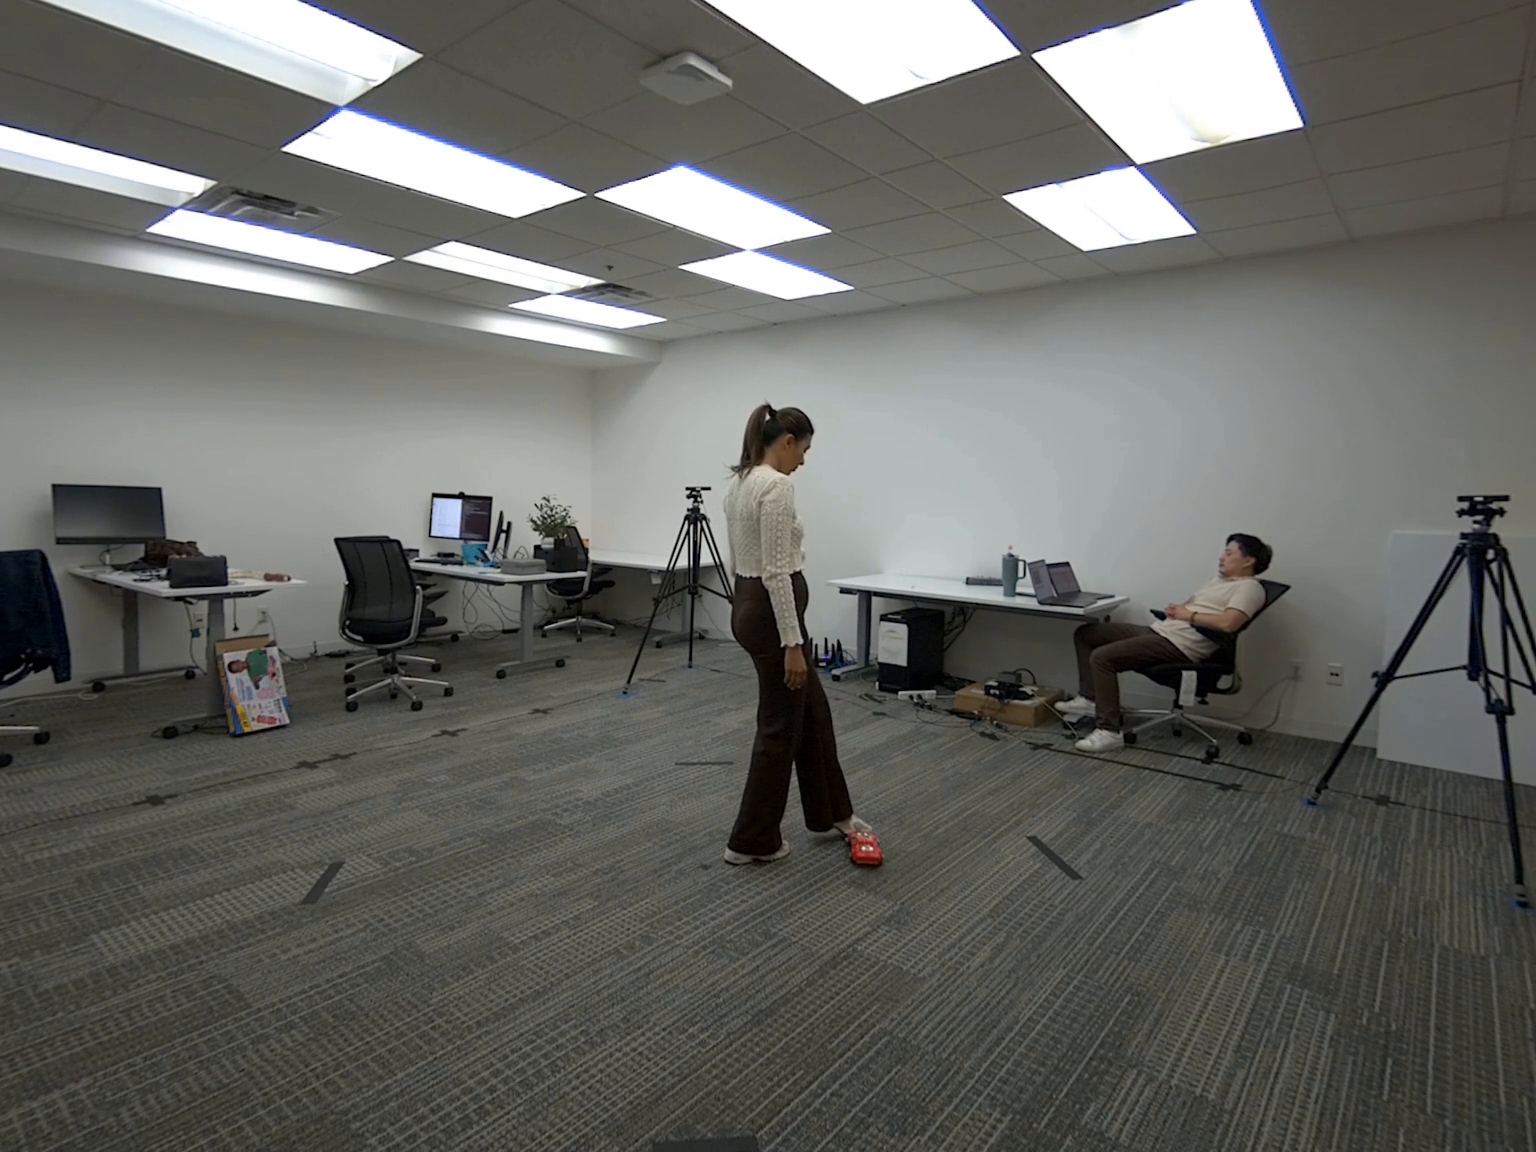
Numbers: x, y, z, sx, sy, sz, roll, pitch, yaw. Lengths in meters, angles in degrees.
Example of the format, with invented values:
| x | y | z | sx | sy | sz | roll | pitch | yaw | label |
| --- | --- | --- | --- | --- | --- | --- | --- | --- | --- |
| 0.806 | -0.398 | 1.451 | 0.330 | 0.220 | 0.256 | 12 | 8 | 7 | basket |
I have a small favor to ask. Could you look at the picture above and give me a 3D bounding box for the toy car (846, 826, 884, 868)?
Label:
| x | y | z | sx | sy | sz | roll | pitch | yaw | label |
| --- | --- | --- | --- | --- | --- | --- | --- | --- | --- |
| 0.359 | 1.039 | 3.231 | 0.130 | 0.084 | 0.252 | 1 | -6 | 0 | toy car |
